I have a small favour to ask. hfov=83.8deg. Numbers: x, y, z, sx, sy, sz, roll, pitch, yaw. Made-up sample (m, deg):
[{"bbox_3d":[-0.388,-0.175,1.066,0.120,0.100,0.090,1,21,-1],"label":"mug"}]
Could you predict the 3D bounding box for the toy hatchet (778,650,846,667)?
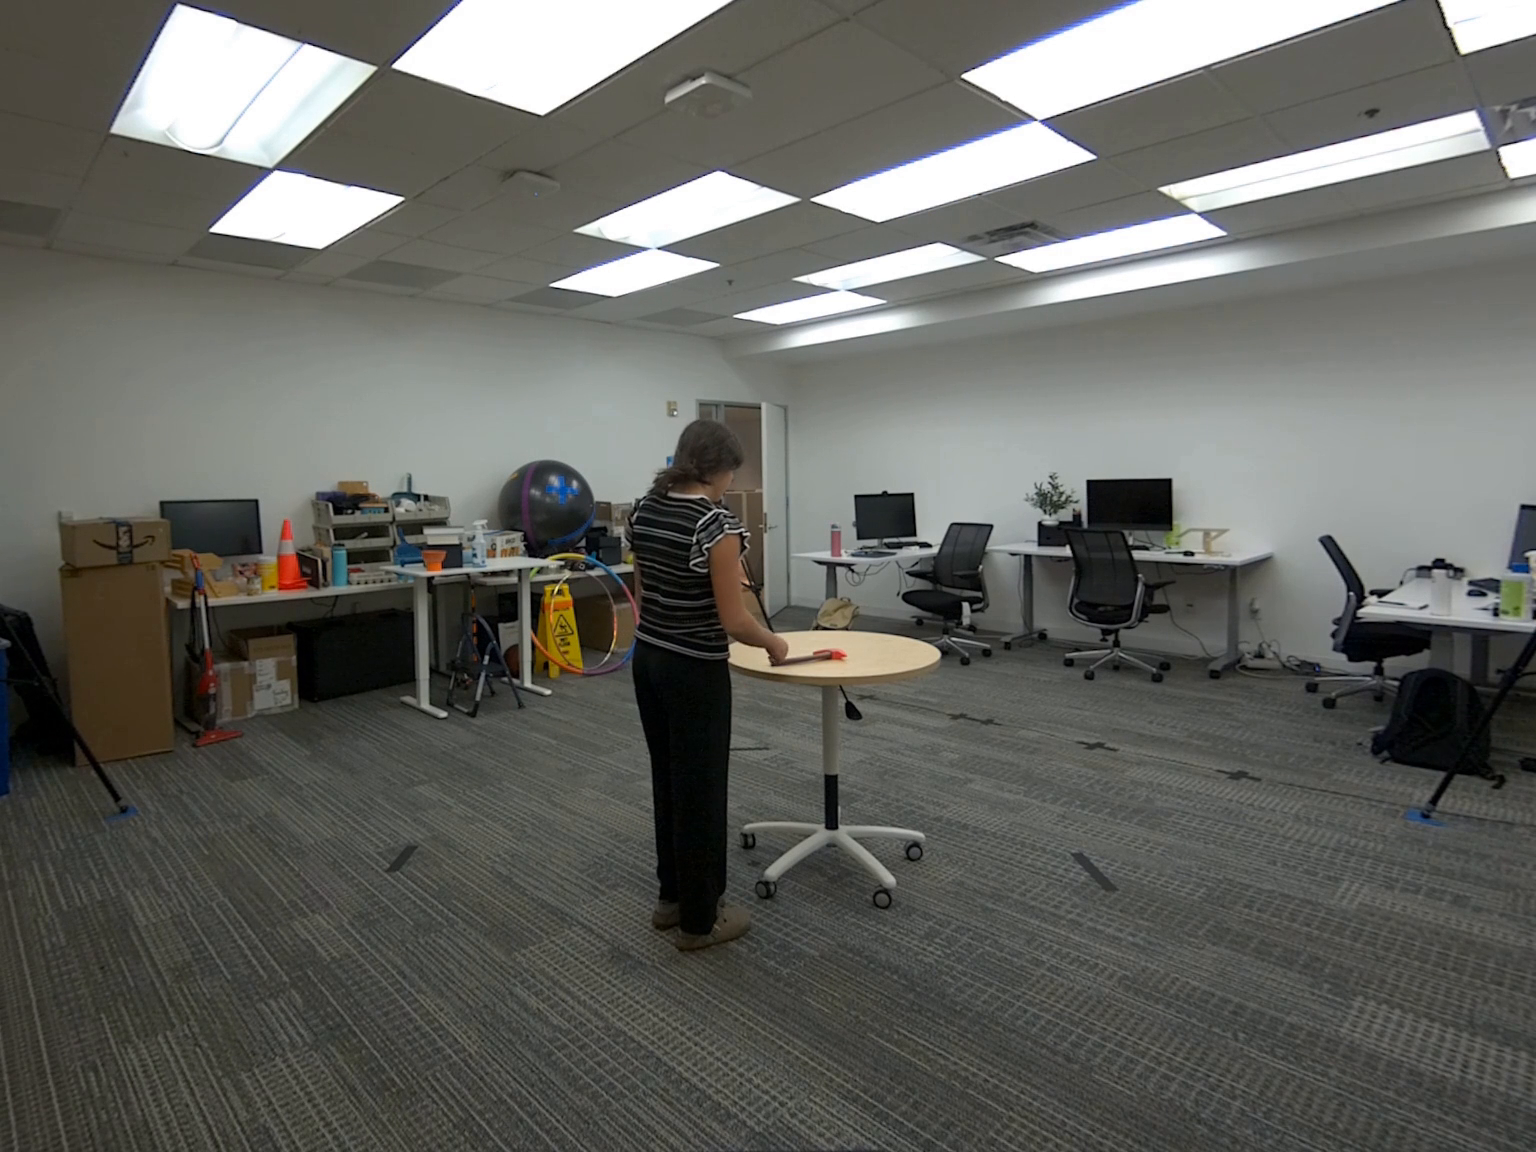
[{"bbox_3d":[0.133,0.274,2.887,0.267,0.029,0.133,-4,5,-13],"label":"toy hatchet"}]
